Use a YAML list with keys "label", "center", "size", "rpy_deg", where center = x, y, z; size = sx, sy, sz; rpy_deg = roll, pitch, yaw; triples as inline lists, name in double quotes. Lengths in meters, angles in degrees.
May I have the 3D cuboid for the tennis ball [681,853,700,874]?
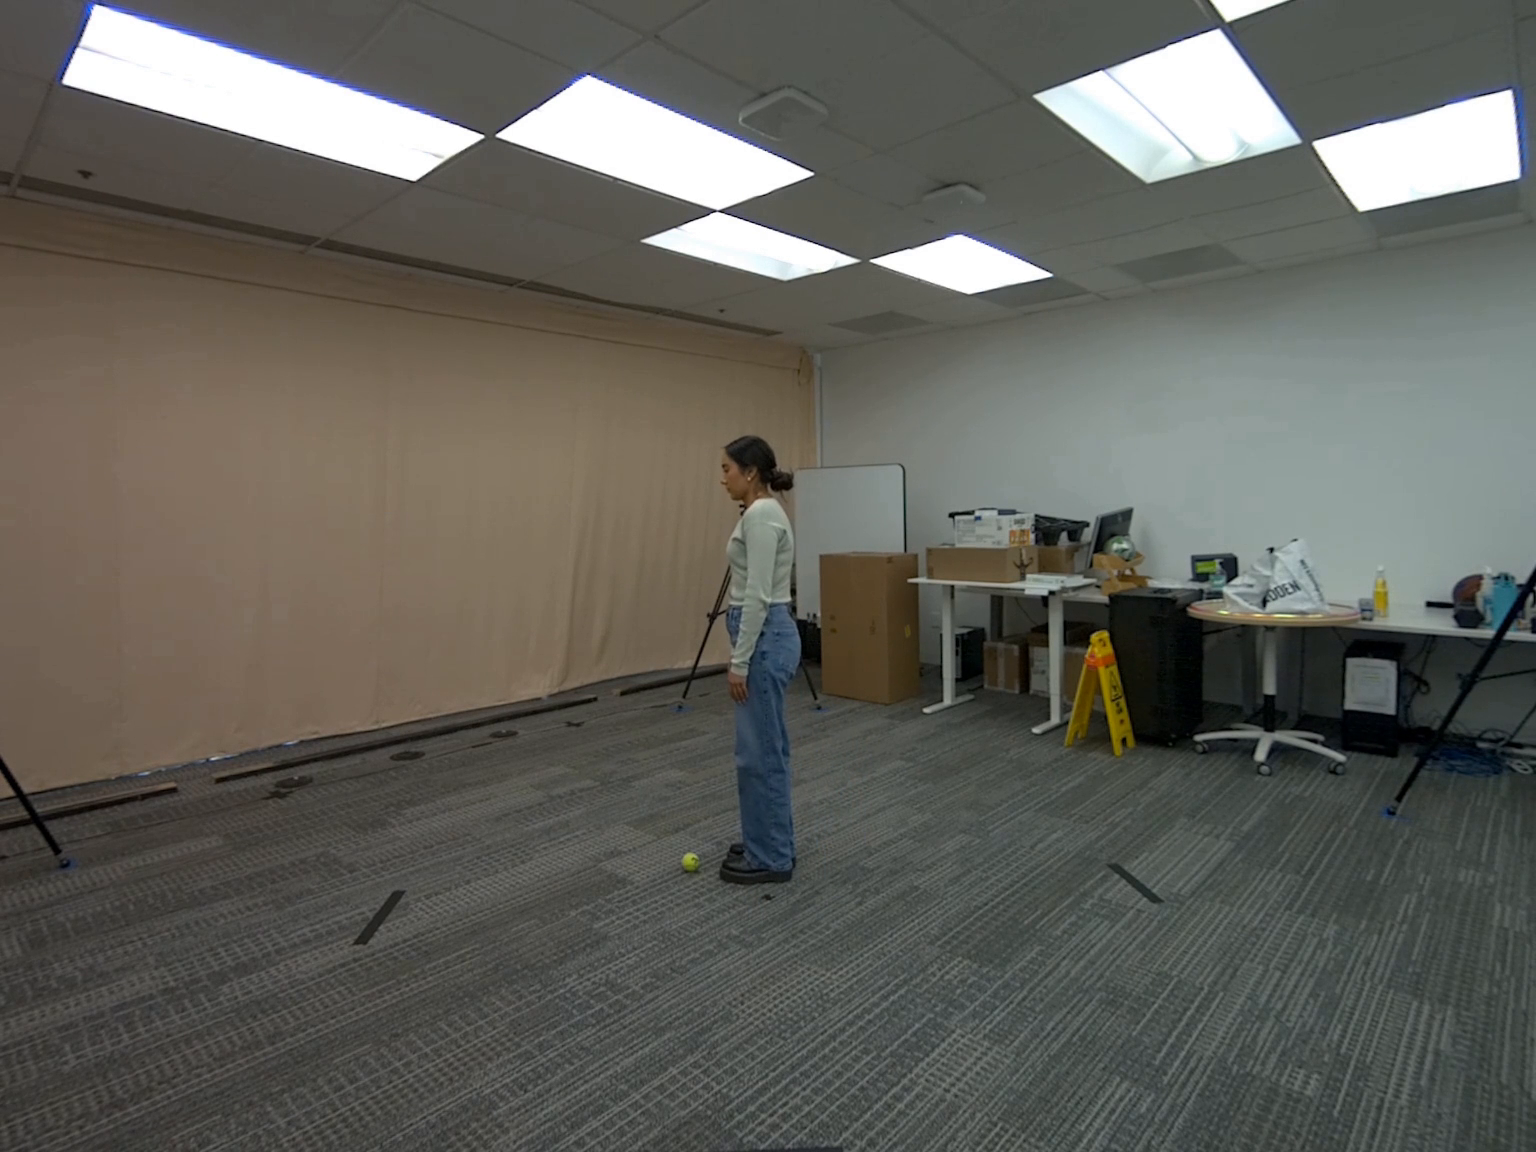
- label: "tennis ball"
  center: [-0.293, 1.085, 3.208]
  size: [0.066, 0.066, 0.067]
  rpy_deg: [-1, 4, -2]
